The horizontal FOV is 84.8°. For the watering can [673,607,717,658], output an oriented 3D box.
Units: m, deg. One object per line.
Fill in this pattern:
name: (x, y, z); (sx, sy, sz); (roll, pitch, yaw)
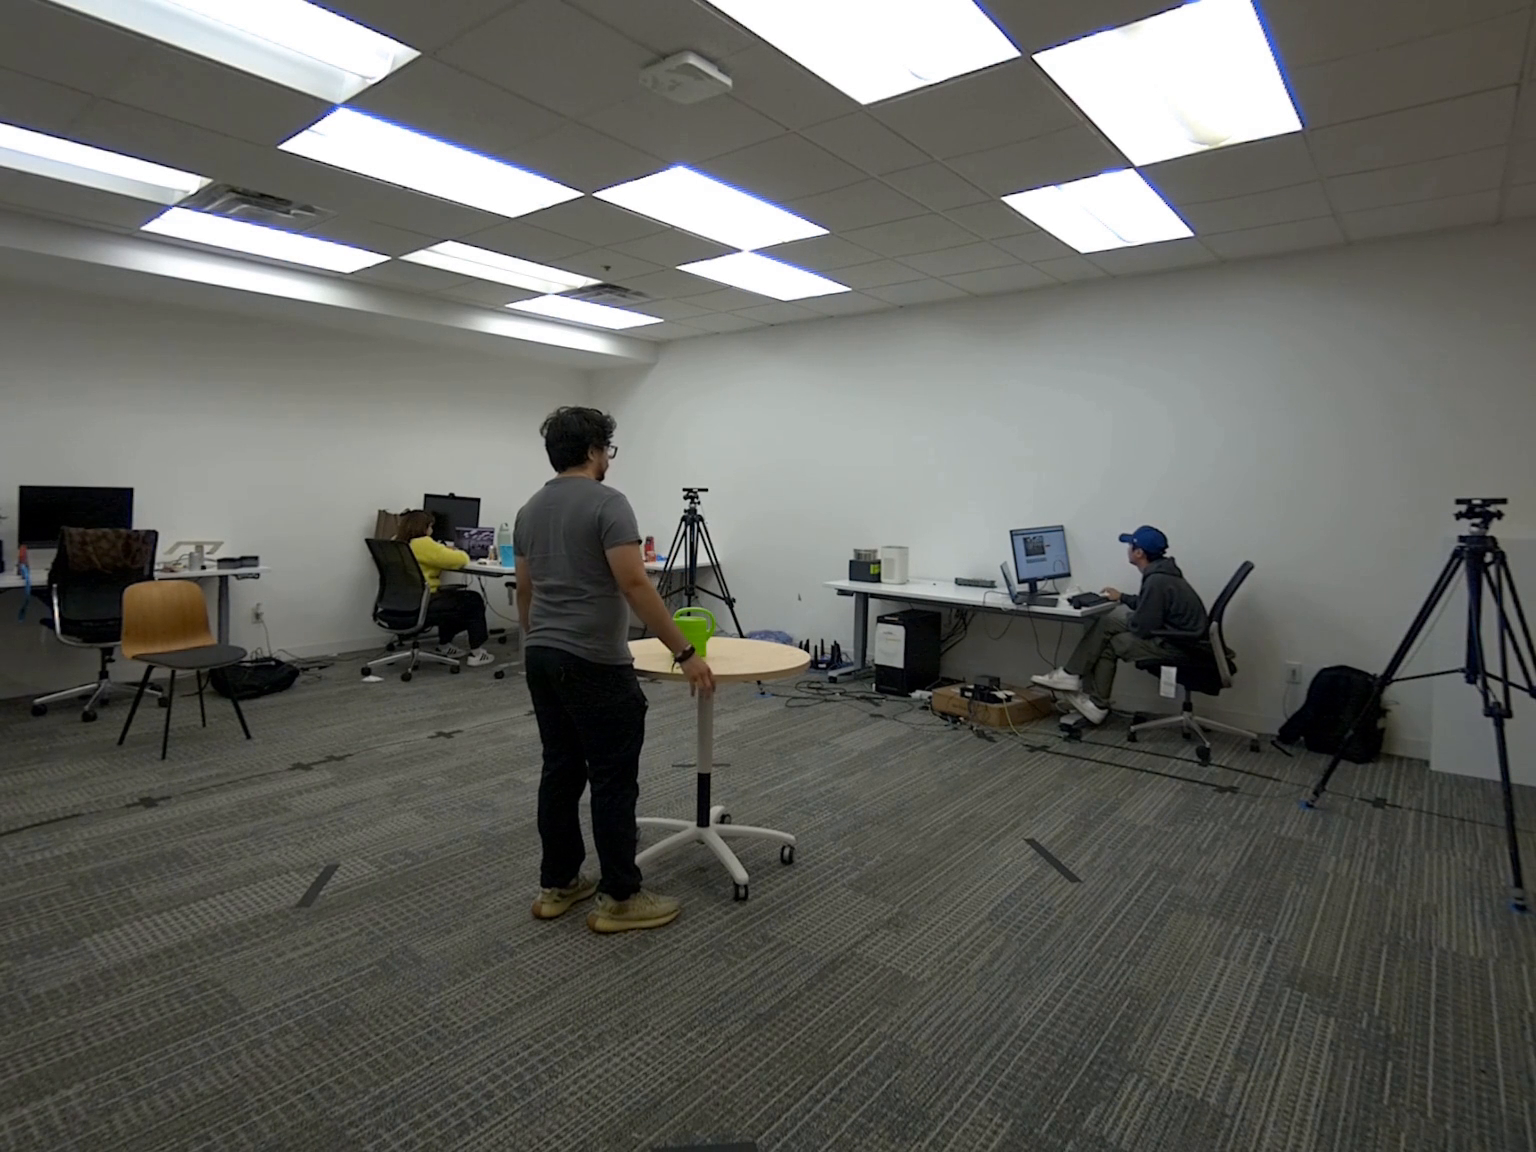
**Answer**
watering can: (-0.339, 0.203, 3.082); (0.279, 0.176, 0.098); (1, 2, 3)
